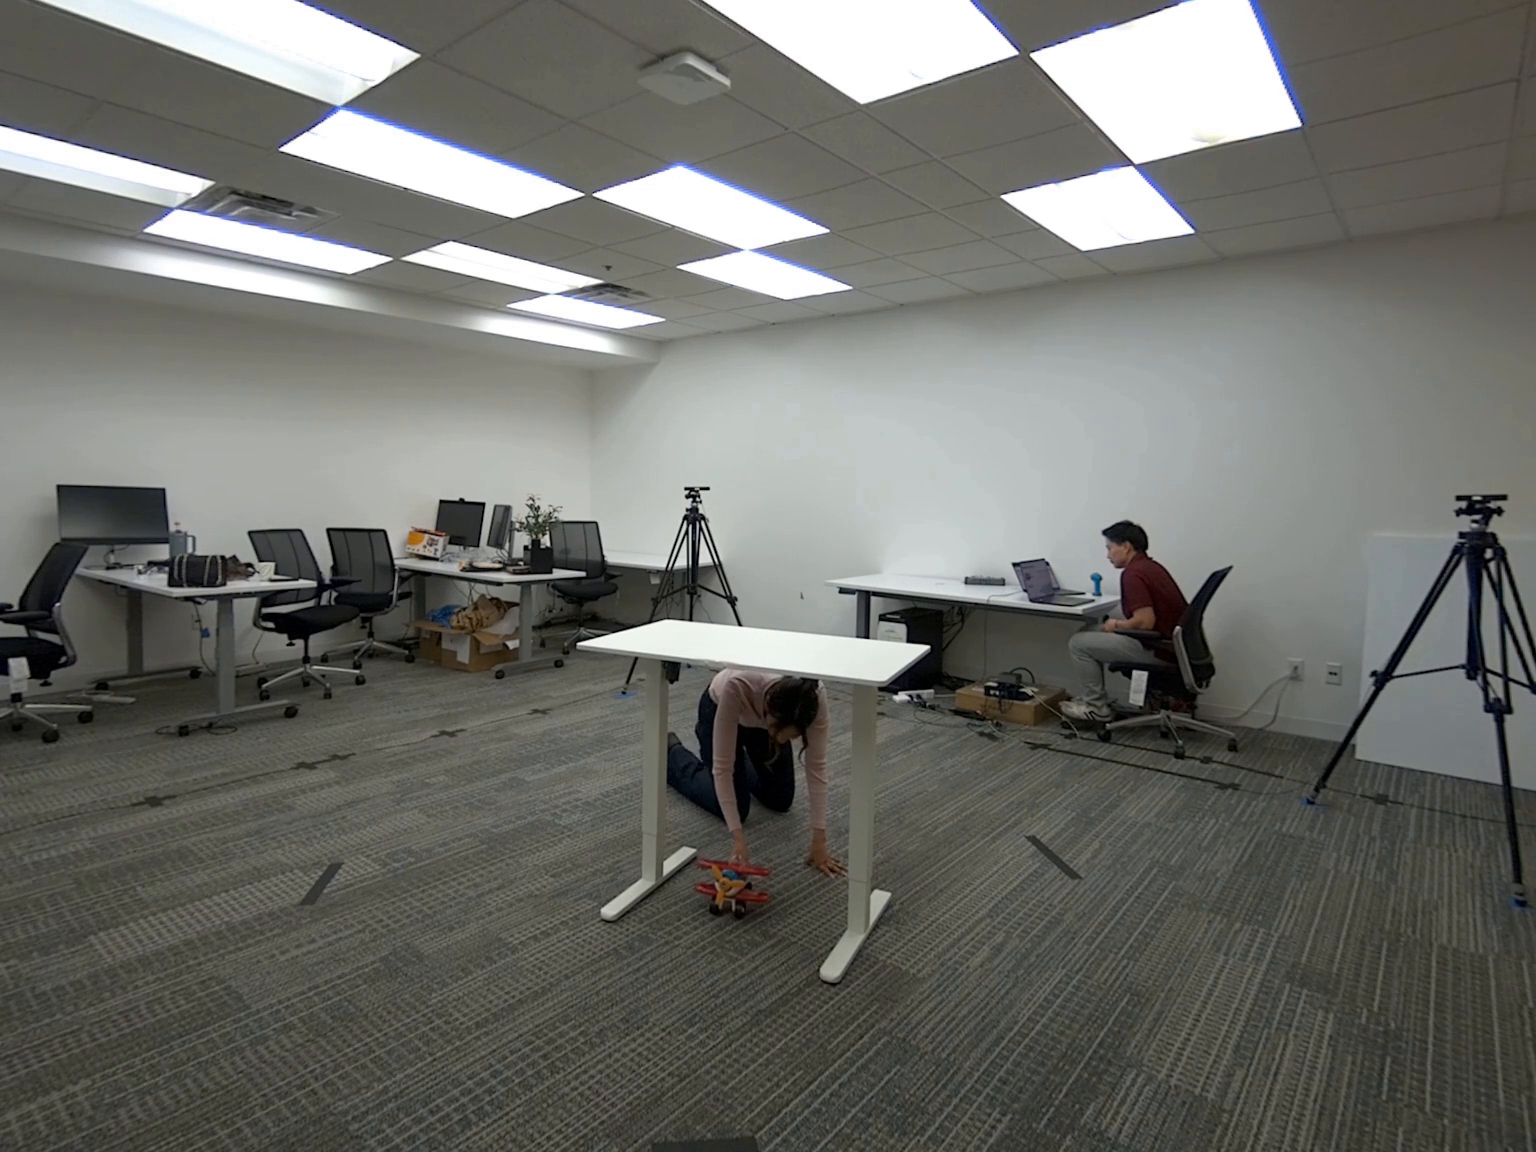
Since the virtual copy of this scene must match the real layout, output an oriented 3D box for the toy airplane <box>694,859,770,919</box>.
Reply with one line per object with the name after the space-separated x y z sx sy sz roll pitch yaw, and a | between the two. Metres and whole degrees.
-0.141 1.018 2.849 0.248 0.156 0.264 0 6 -13 | toy airplane
